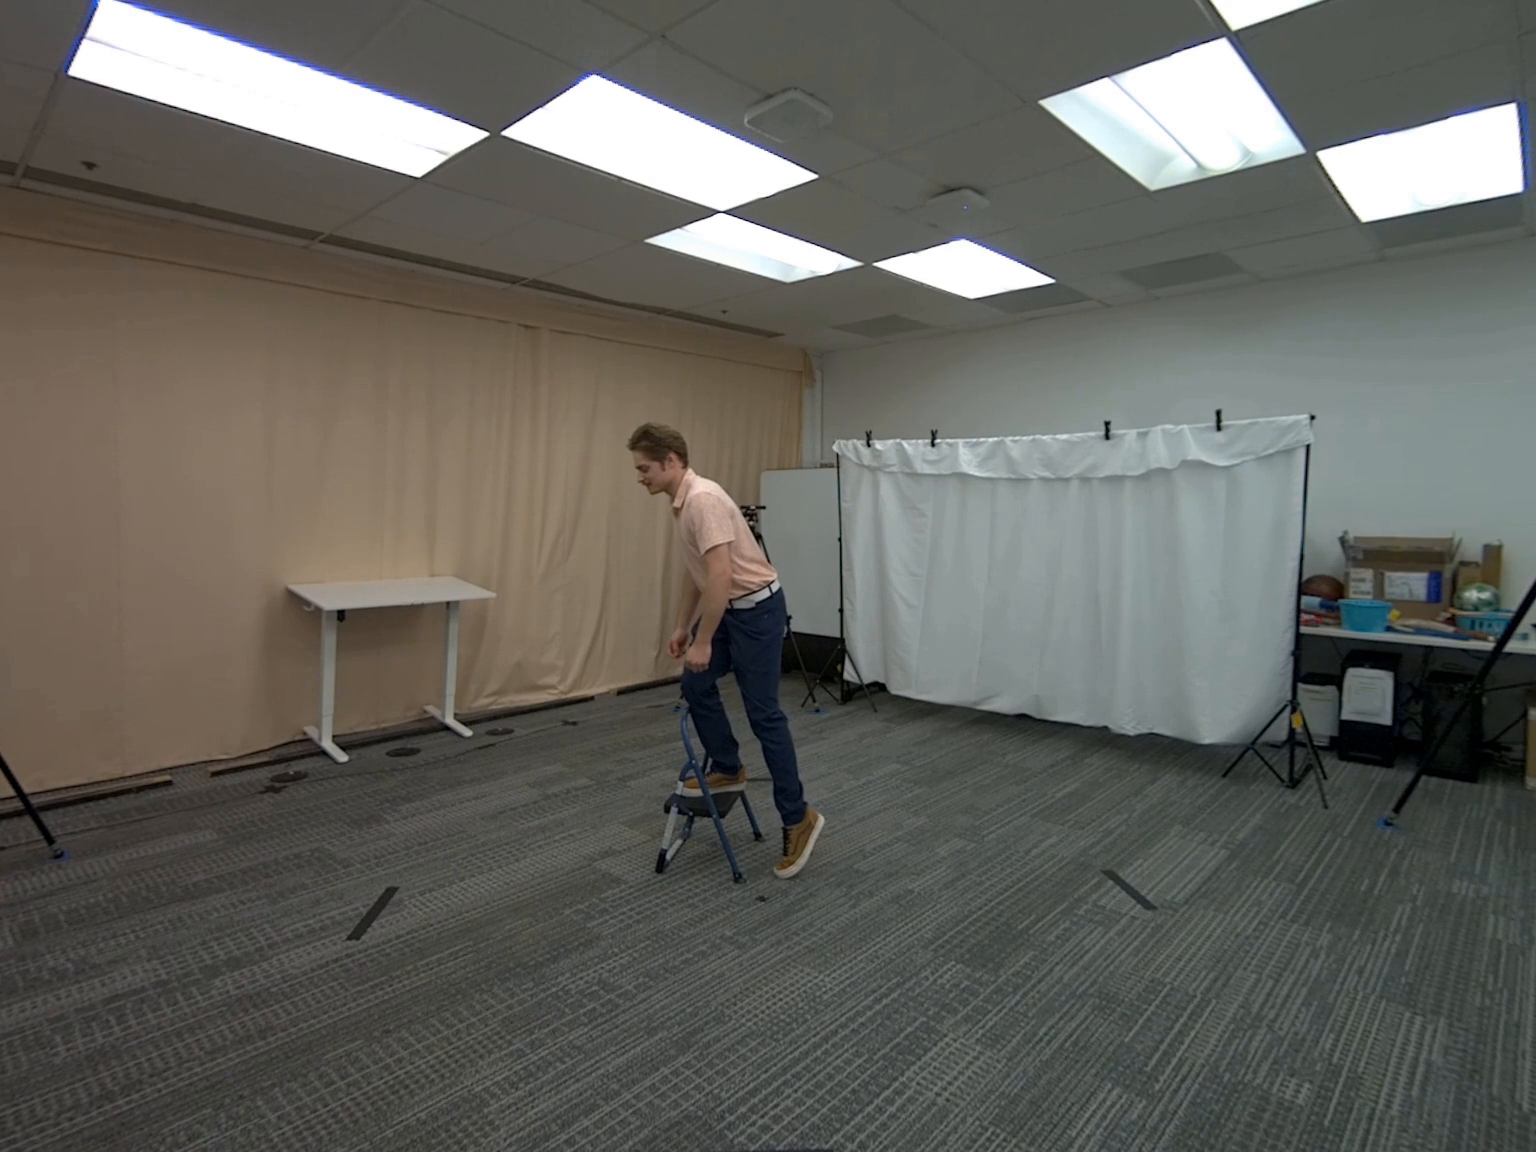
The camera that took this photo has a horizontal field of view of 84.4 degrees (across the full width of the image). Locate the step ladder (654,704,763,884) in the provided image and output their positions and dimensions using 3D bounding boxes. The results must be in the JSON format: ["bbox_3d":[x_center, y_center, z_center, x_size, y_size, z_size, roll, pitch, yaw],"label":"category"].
[{"bbox_3d":[-0.228,0.815,3.339,0.354,0.605,0.426,0,3,11],"label":"step ladder"}]
